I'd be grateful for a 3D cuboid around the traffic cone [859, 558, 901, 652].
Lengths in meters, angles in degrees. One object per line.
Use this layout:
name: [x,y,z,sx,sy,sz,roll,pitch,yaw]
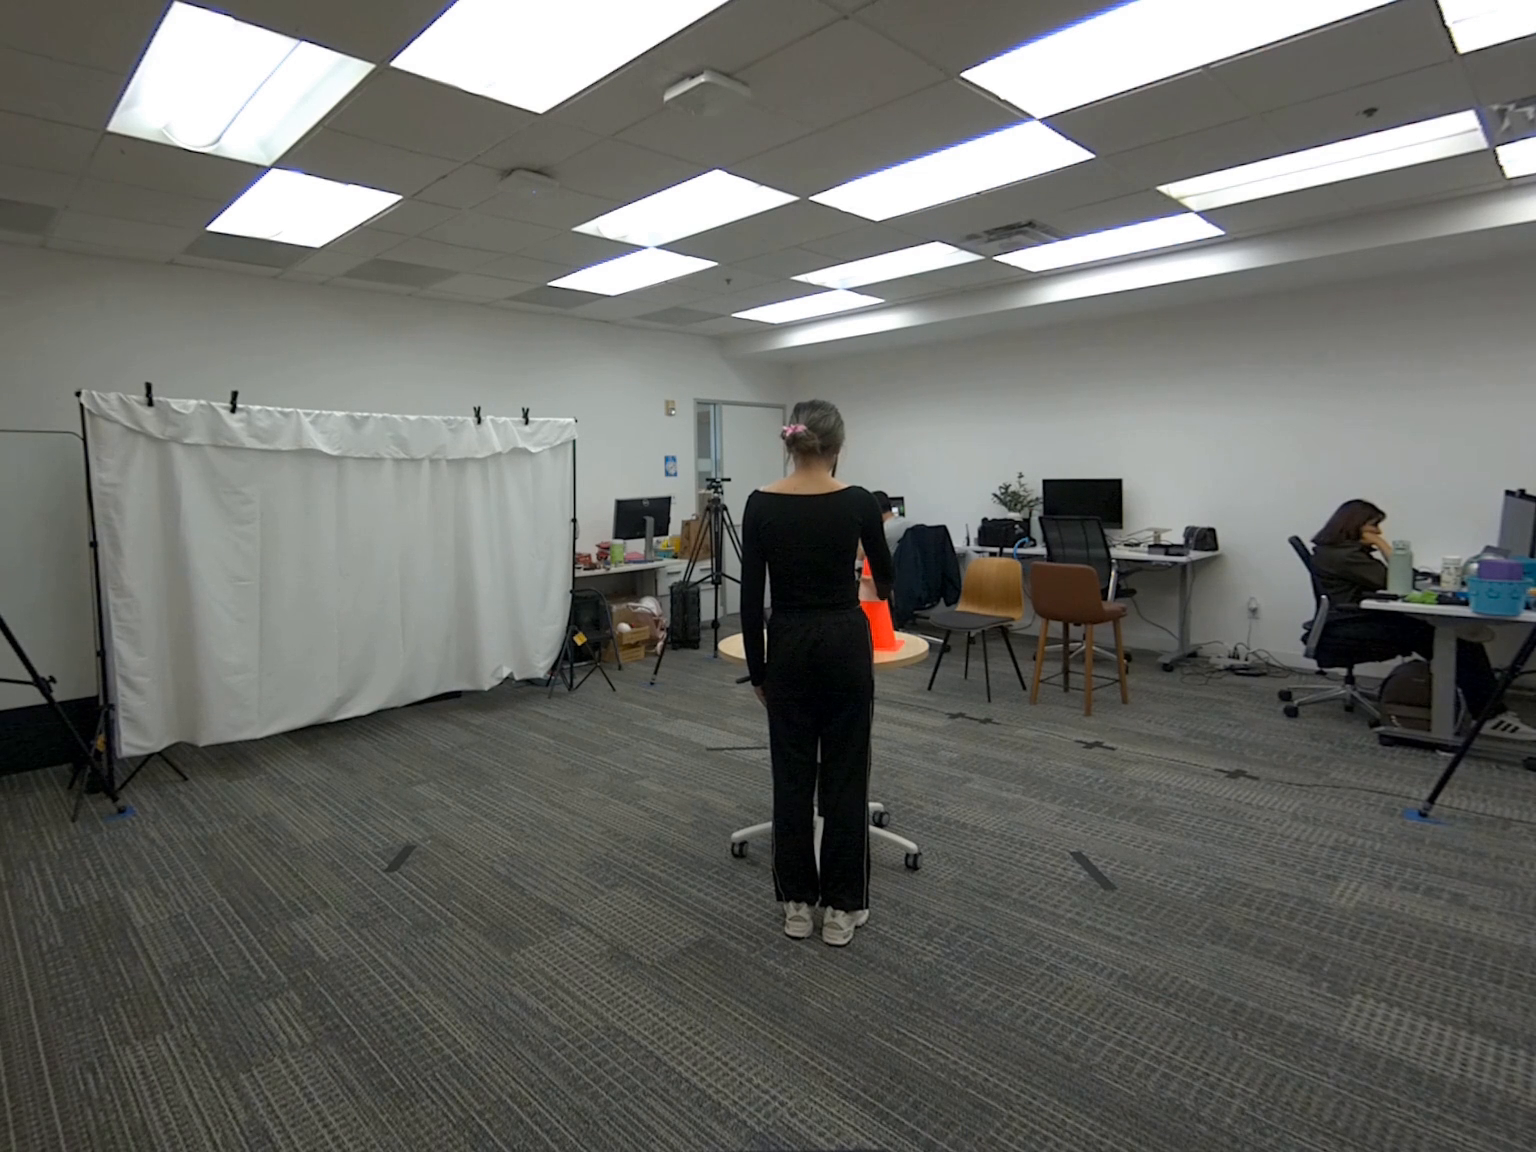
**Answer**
traffic cone: [0.374,0.060,3.069,0.208,0.381,0.202,-1,6,14]
